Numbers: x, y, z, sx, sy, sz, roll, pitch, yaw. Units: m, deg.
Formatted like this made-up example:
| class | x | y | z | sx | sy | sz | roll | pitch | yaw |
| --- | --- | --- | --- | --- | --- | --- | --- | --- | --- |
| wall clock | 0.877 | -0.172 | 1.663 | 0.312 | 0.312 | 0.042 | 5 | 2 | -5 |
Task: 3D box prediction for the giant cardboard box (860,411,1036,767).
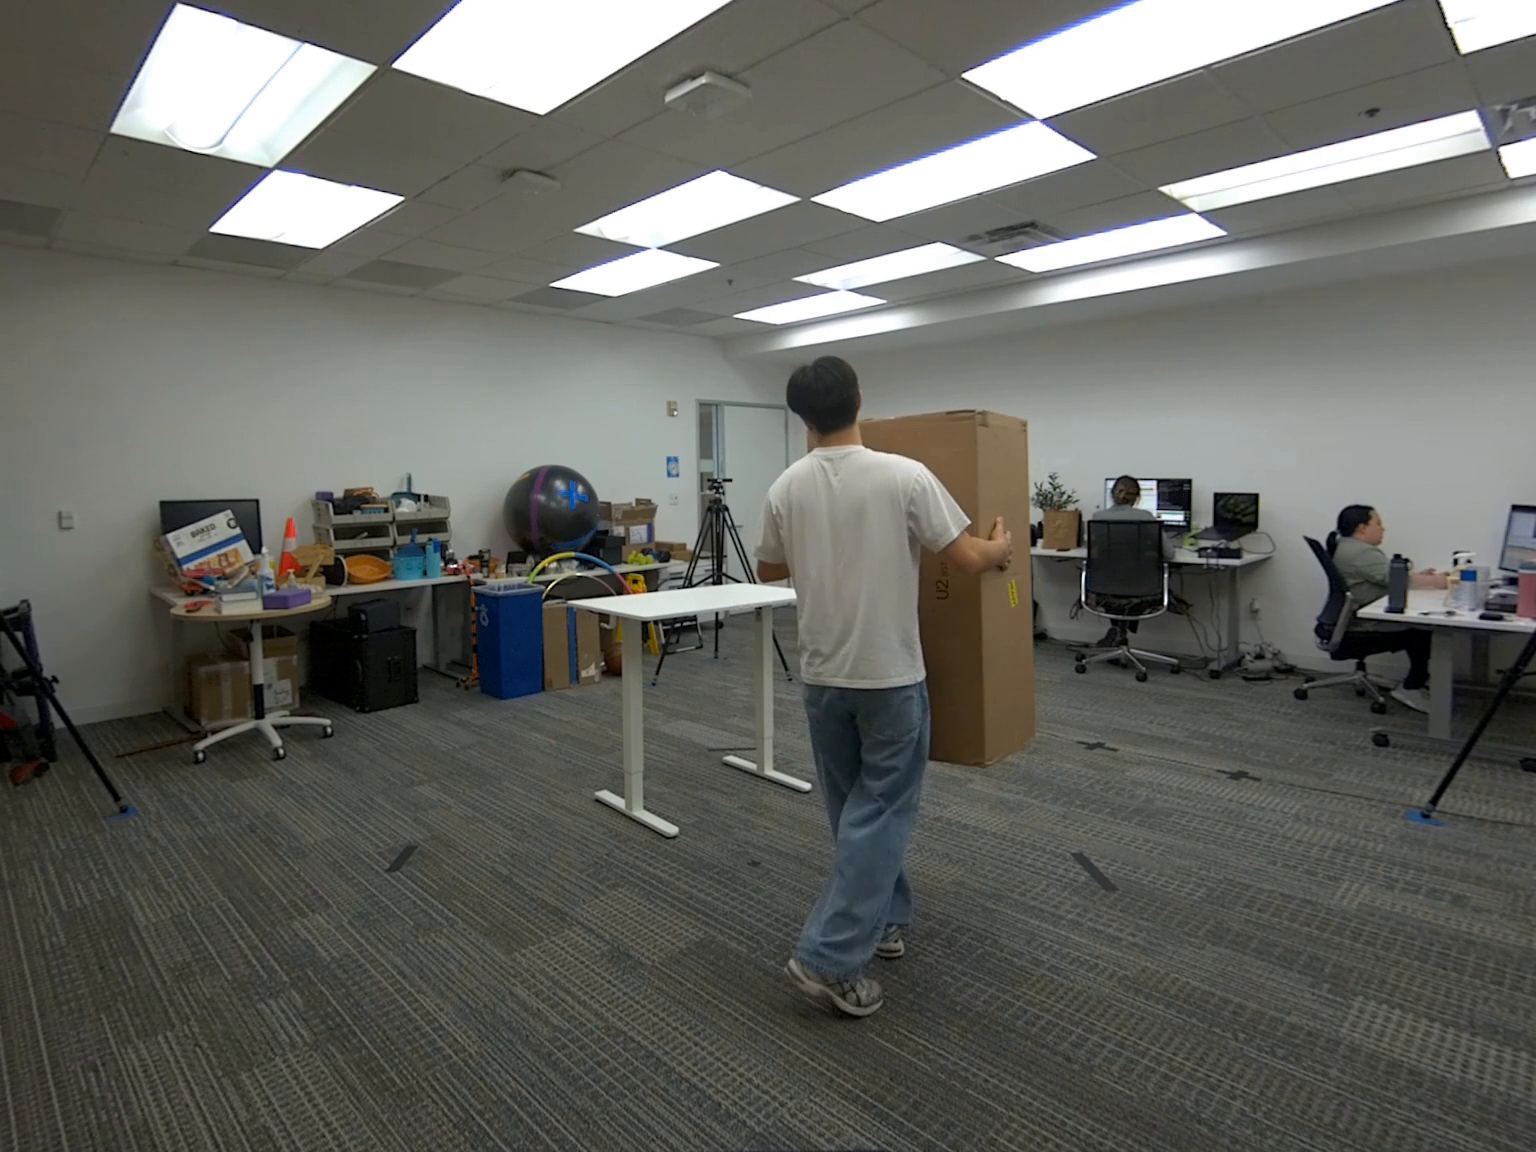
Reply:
| class | x | y | z | sx | sy | sz | roll | pitch | yaw |
| --- | --- | --- | --- | --- | --- | --- | --- | --- | --- |
| giant cardboard box | 0.494 | 0.018 | 2.755 | 0.594 | 1.025 | 0.415 | -1 | 1 | 38 |
